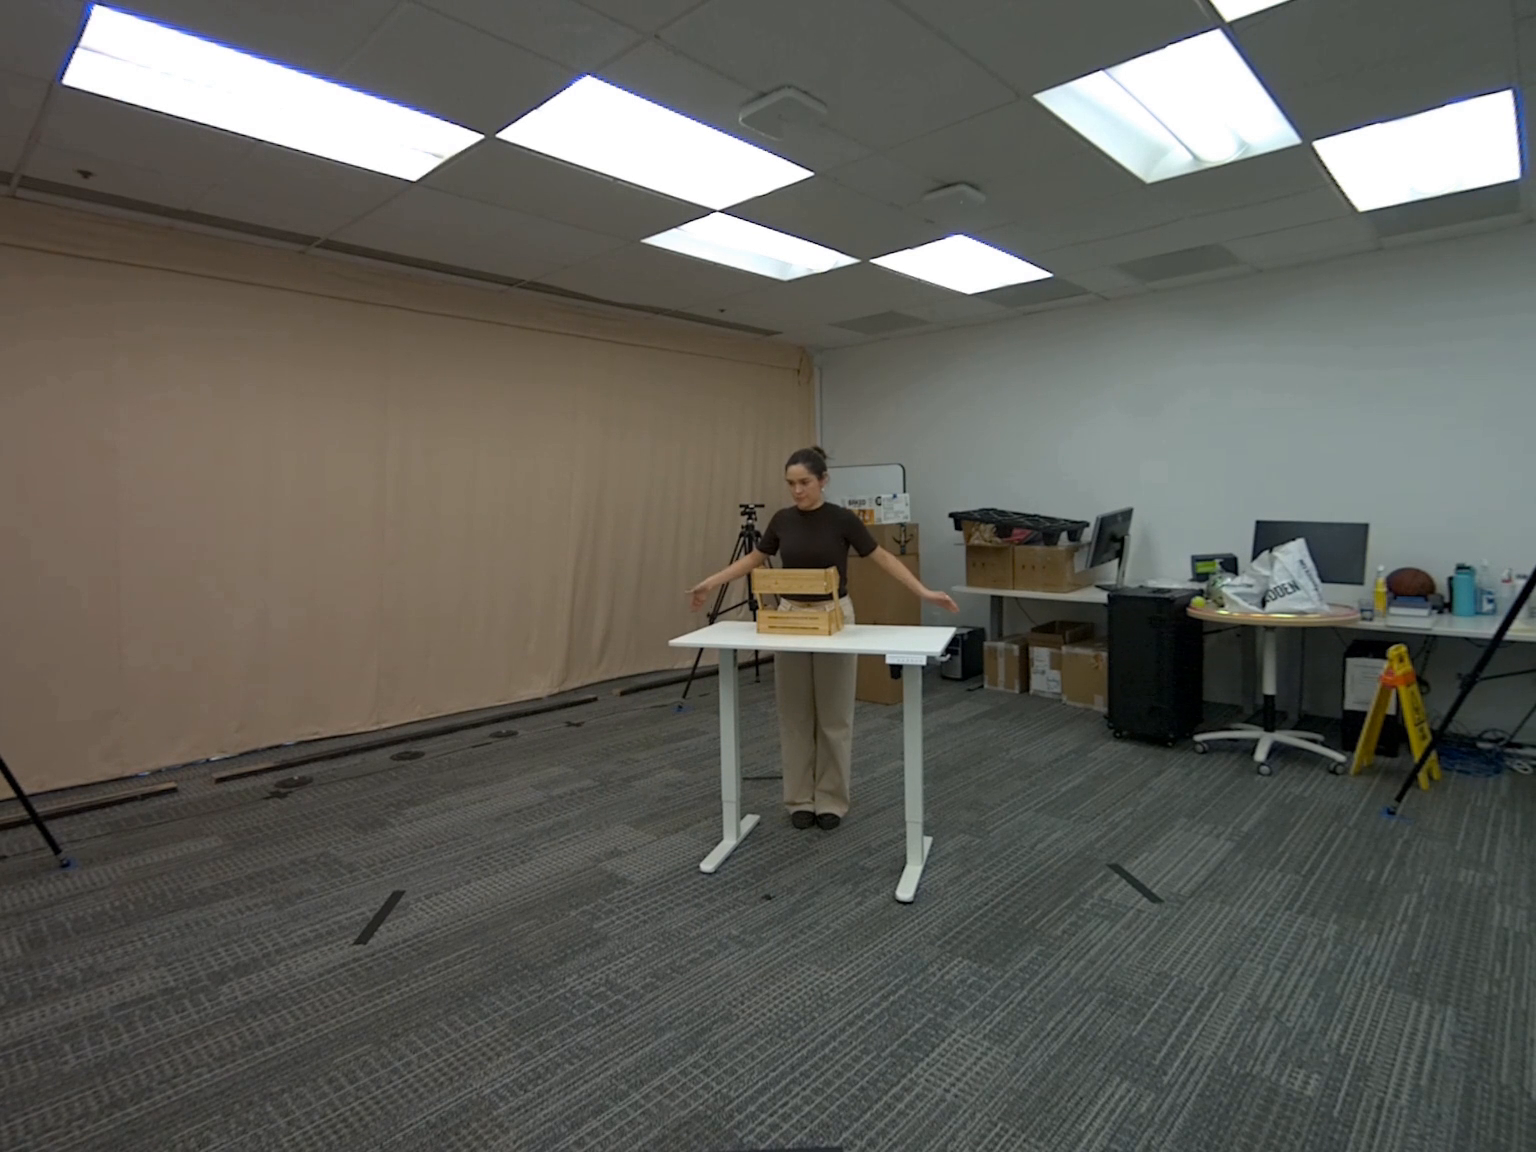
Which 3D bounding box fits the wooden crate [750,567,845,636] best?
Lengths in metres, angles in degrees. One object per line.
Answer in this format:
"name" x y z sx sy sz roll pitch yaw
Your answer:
"wooden crate" 0.126 0.091 3.377 0.331 0.272 0.297 0 4 19
